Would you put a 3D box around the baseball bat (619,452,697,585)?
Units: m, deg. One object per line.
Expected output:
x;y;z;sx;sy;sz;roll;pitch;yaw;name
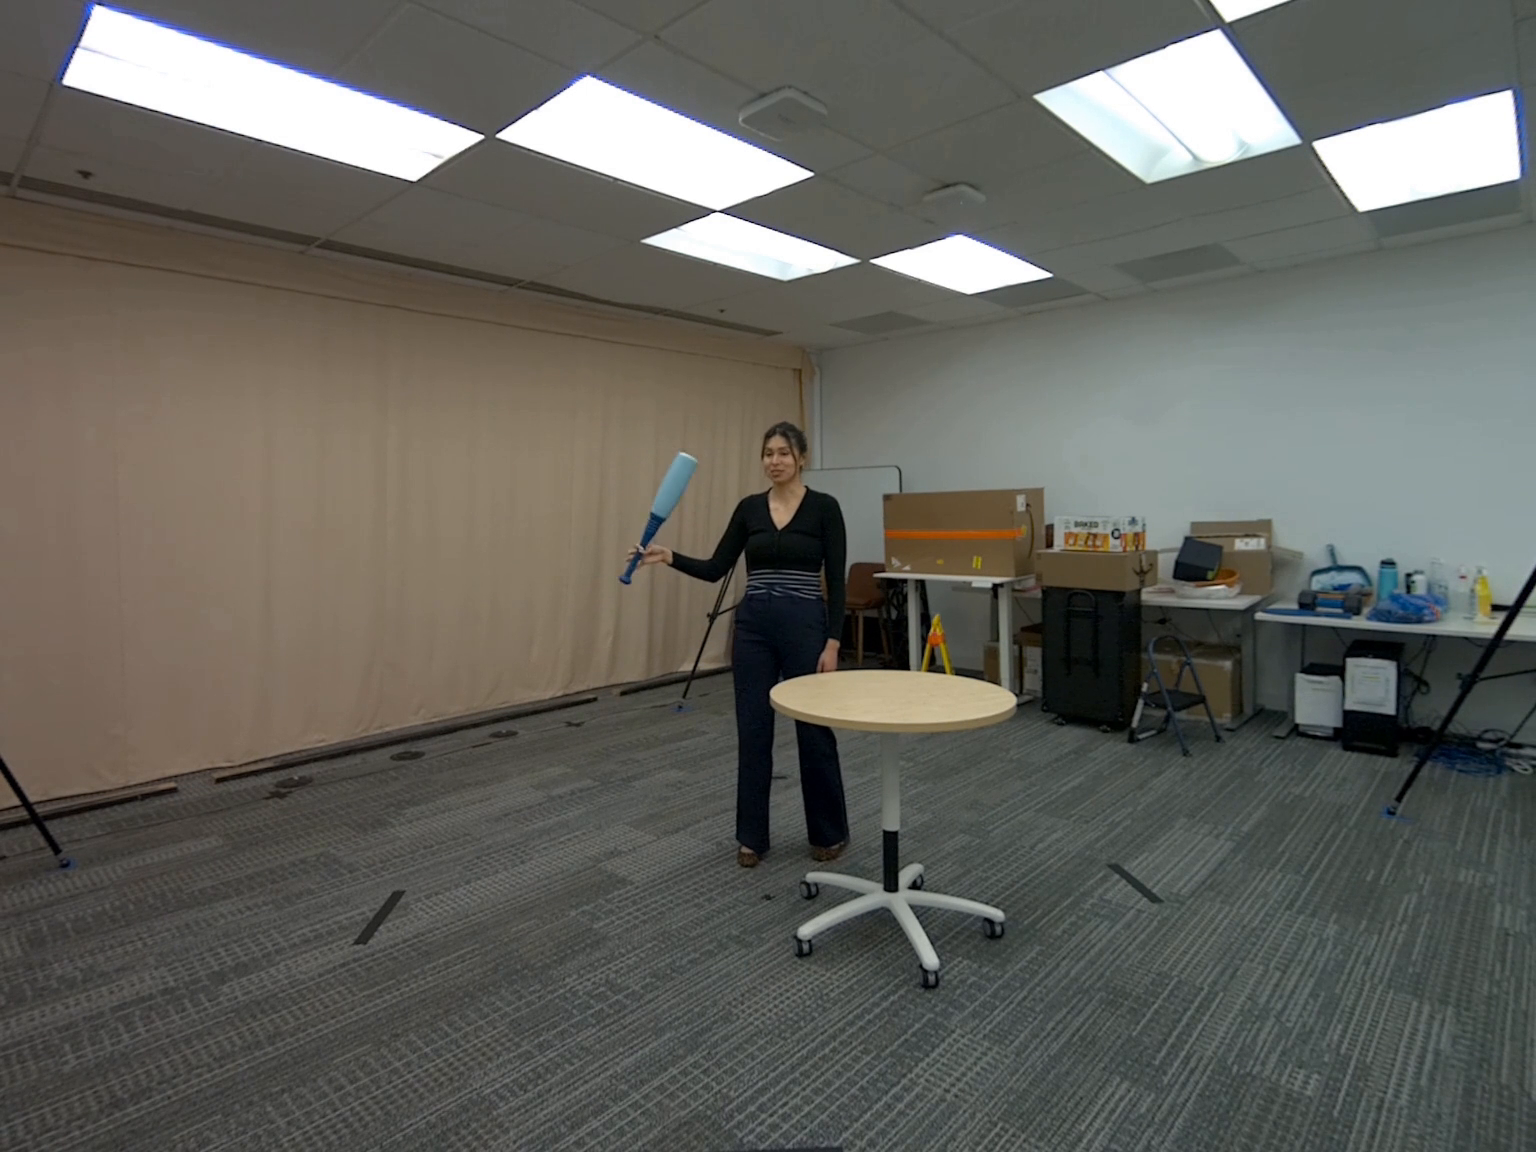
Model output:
-0.421;-0.182;3.174;0.088;0.543;0.089;27;7;-5;baseball bat
